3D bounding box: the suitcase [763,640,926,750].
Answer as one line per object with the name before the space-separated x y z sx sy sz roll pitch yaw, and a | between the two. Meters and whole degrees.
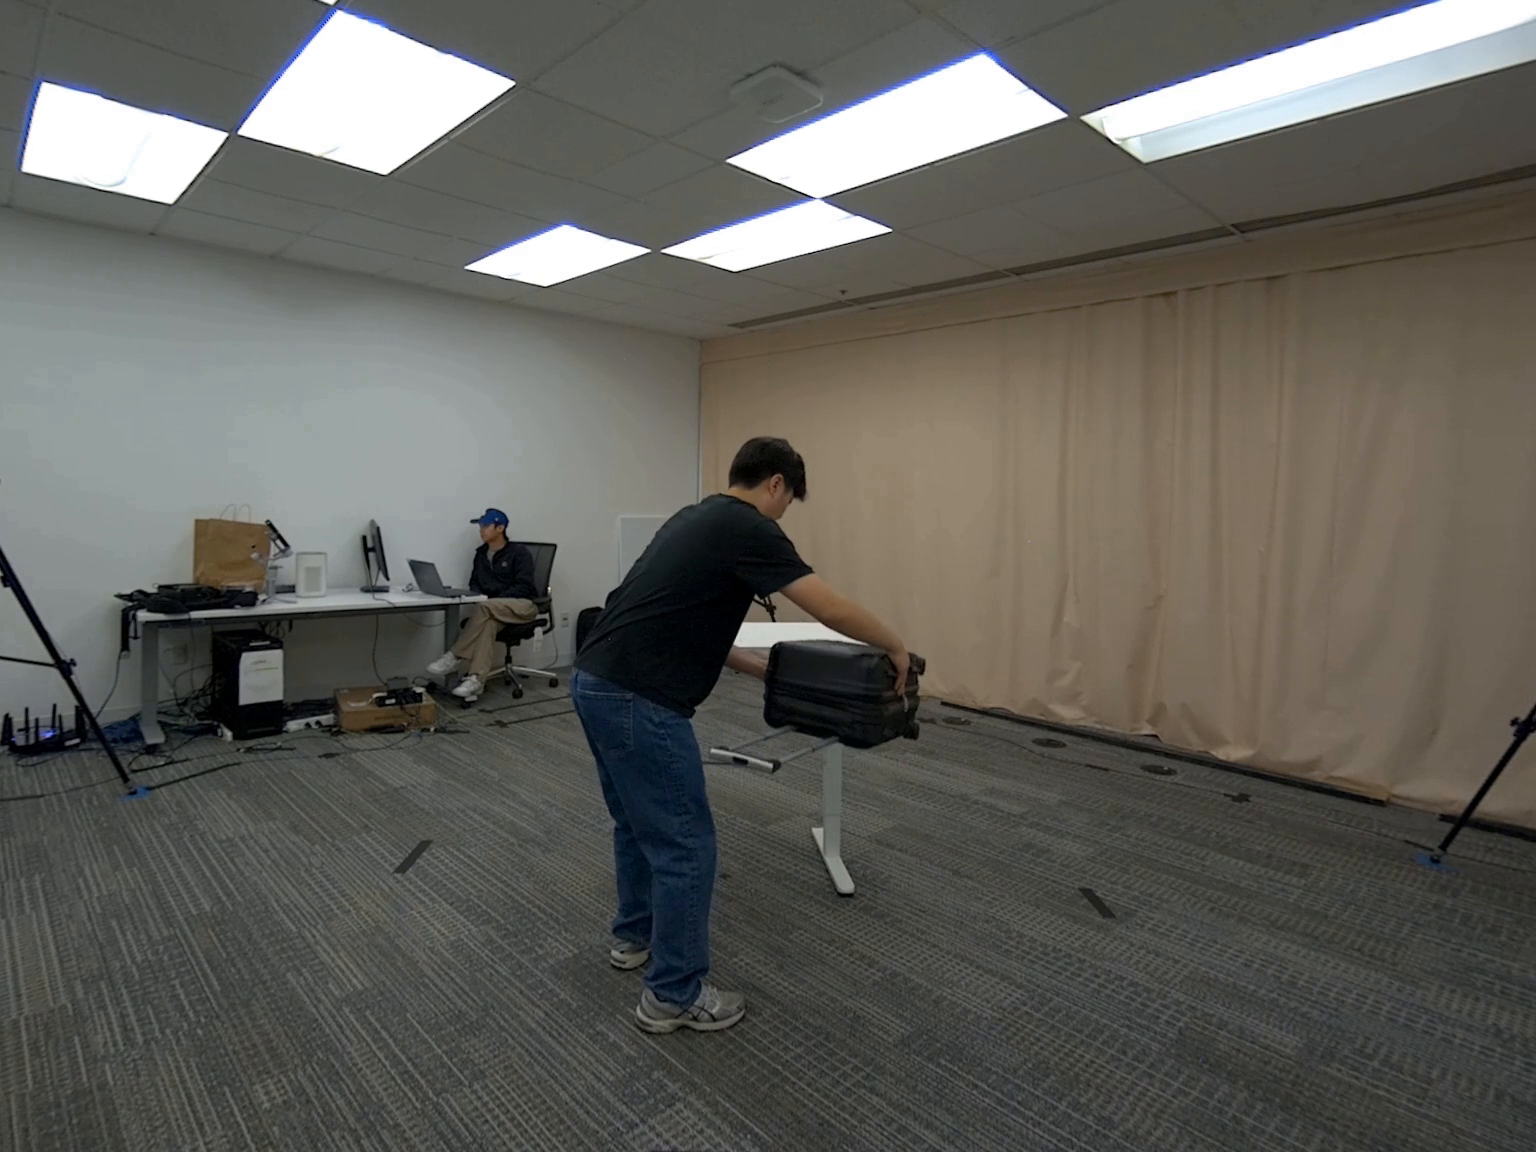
suitcase | 0.149 0.325 2.344 0.392 0.257 0.957 6 -1 26
